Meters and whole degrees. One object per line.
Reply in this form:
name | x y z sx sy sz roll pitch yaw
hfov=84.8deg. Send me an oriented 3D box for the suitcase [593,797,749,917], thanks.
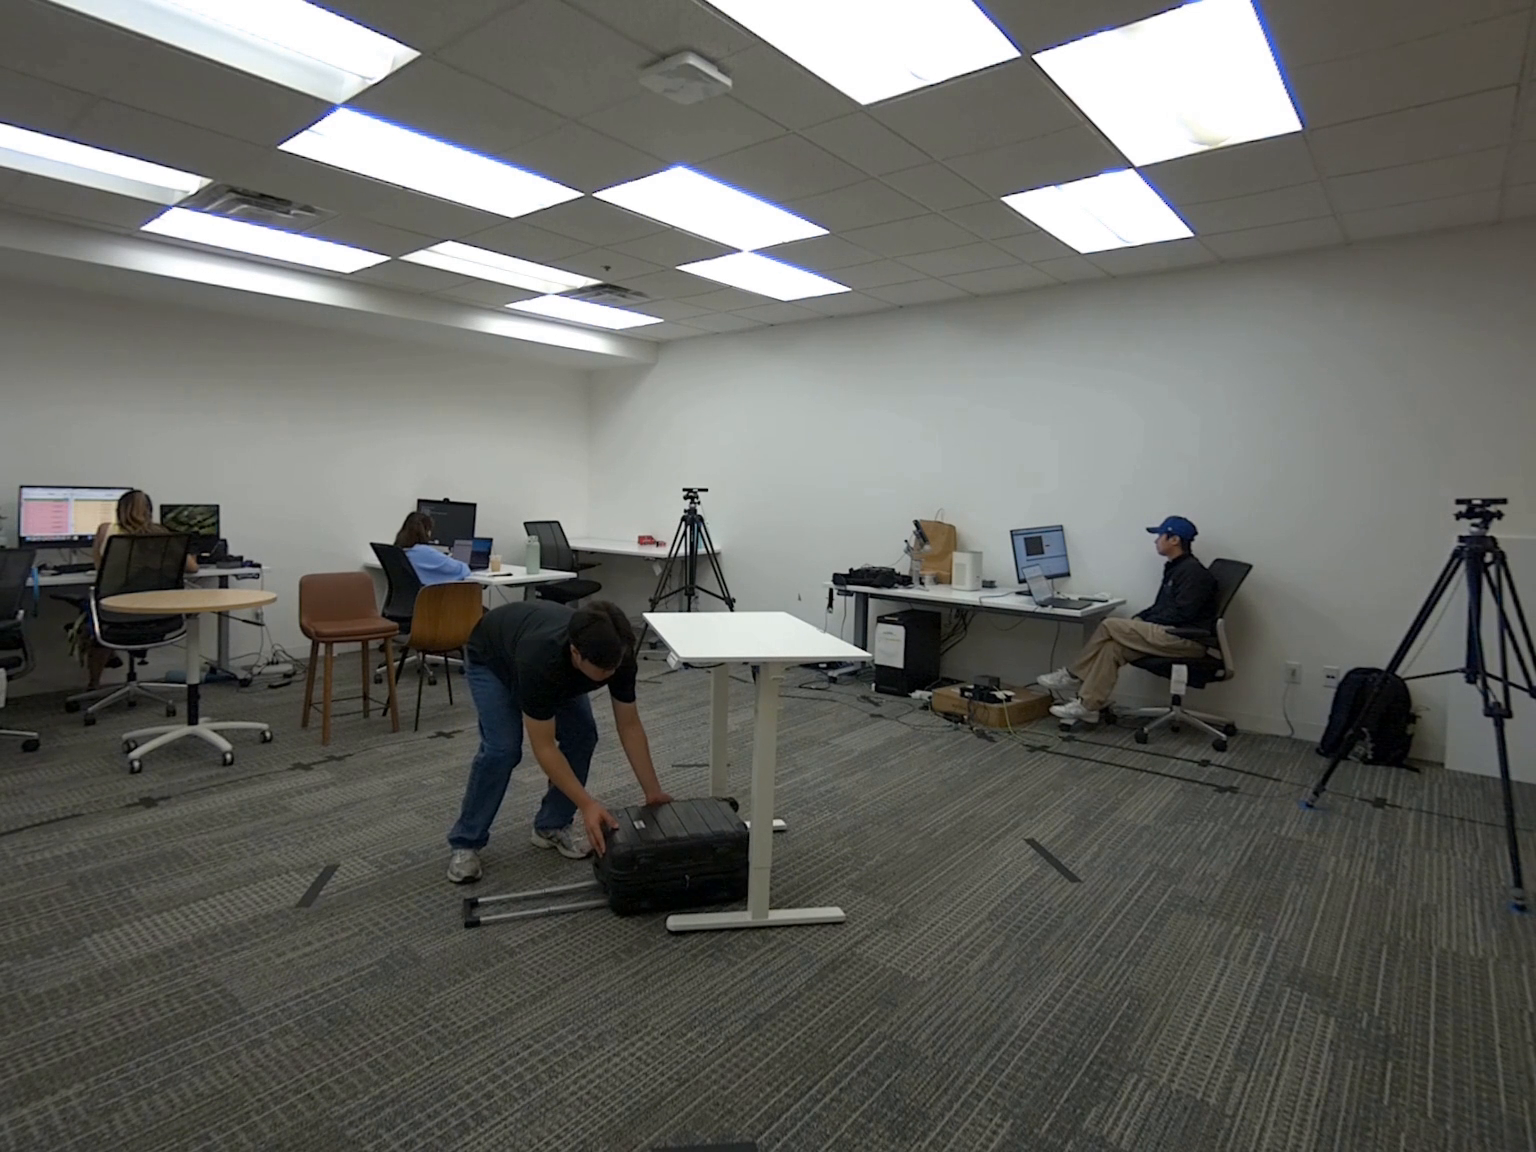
suitcase | -0.523 0.957 2.883 0.961 0.256 0.393 0 7 -17
